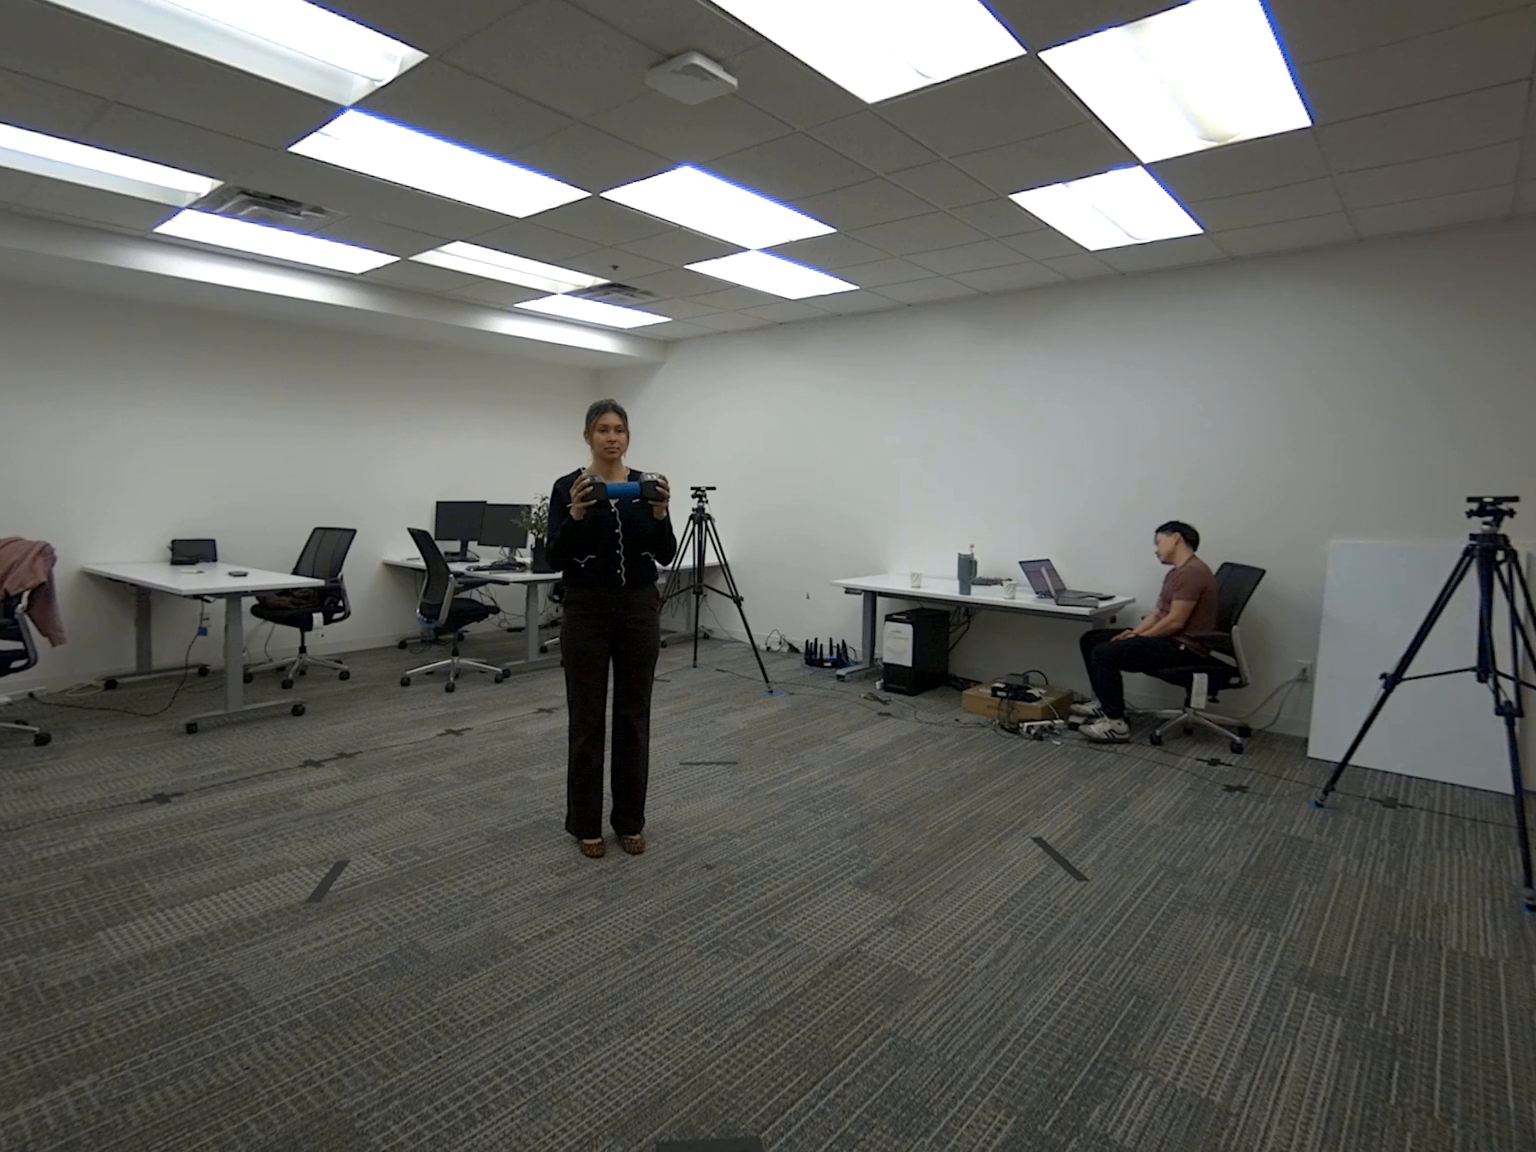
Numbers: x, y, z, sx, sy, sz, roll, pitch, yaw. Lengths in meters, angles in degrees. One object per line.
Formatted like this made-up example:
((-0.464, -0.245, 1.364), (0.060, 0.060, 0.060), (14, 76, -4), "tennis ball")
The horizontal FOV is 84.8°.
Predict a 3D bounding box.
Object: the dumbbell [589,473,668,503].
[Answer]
((-0.538, -0.305, 3.048), (0.289, 0.111, 0.121), (-6, -23, -15), "dumbbell")
